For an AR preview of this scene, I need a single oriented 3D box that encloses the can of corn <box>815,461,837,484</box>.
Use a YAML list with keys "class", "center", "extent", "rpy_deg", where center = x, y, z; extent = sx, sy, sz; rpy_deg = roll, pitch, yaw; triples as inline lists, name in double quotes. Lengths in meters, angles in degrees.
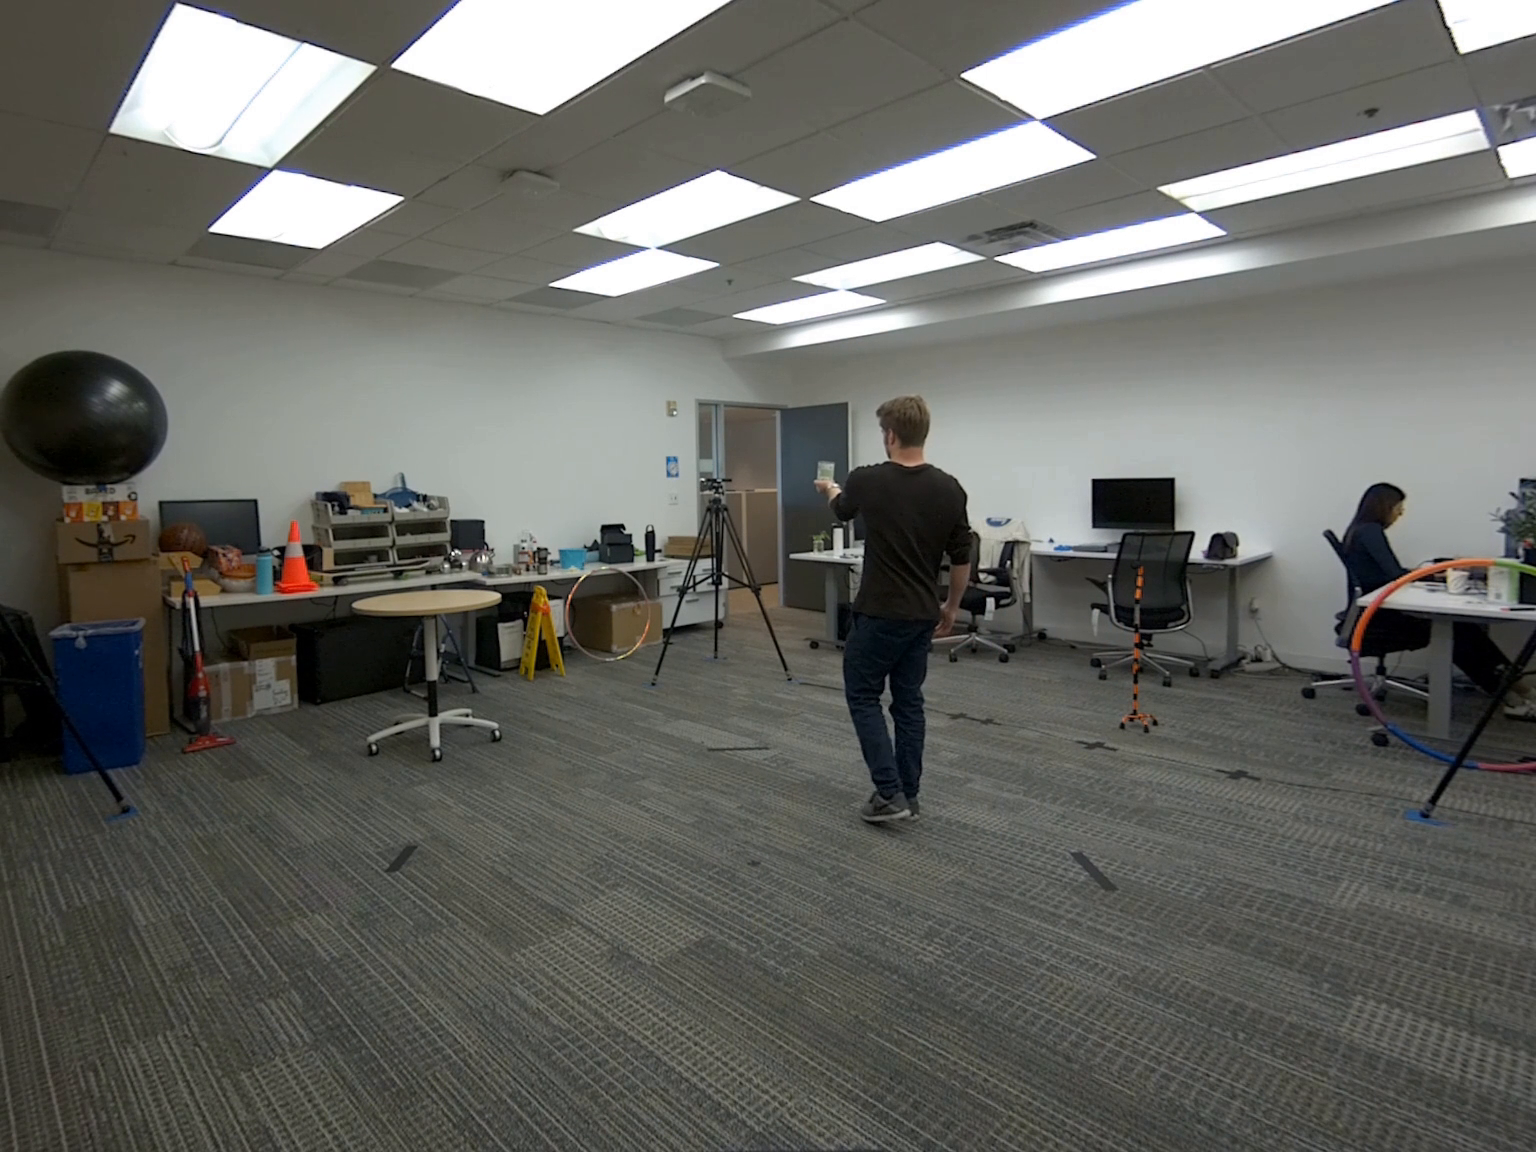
- class: "can of corn"
  center: [0.279, -0.478, 3.997]
  extent: [0.074, 0.110, 0.075]
  rpy_deg: [1, 8, -2]
